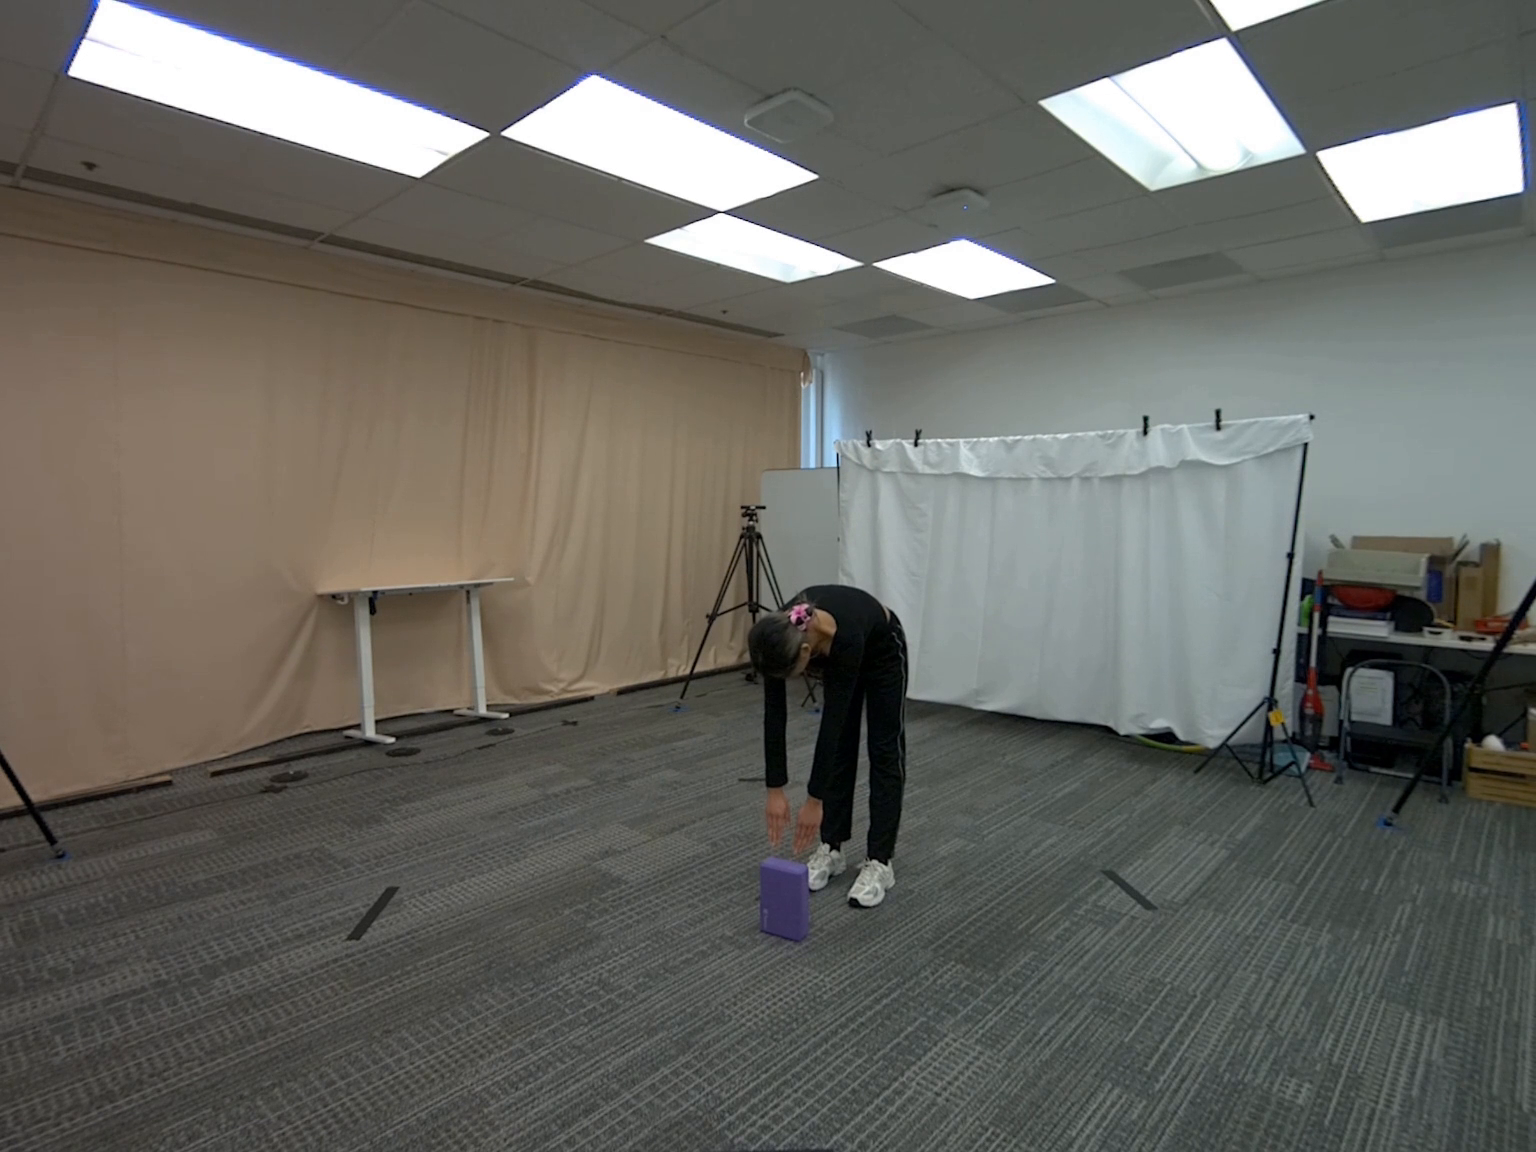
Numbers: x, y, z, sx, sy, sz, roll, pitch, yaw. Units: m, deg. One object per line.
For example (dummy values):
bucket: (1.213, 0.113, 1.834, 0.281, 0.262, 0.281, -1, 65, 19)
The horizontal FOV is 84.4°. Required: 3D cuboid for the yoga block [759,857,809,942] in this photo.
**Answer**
yoga block: (0.057, 1.050, 2.737, 0.153, 0.229, 0.074, 3, 4, 27)
